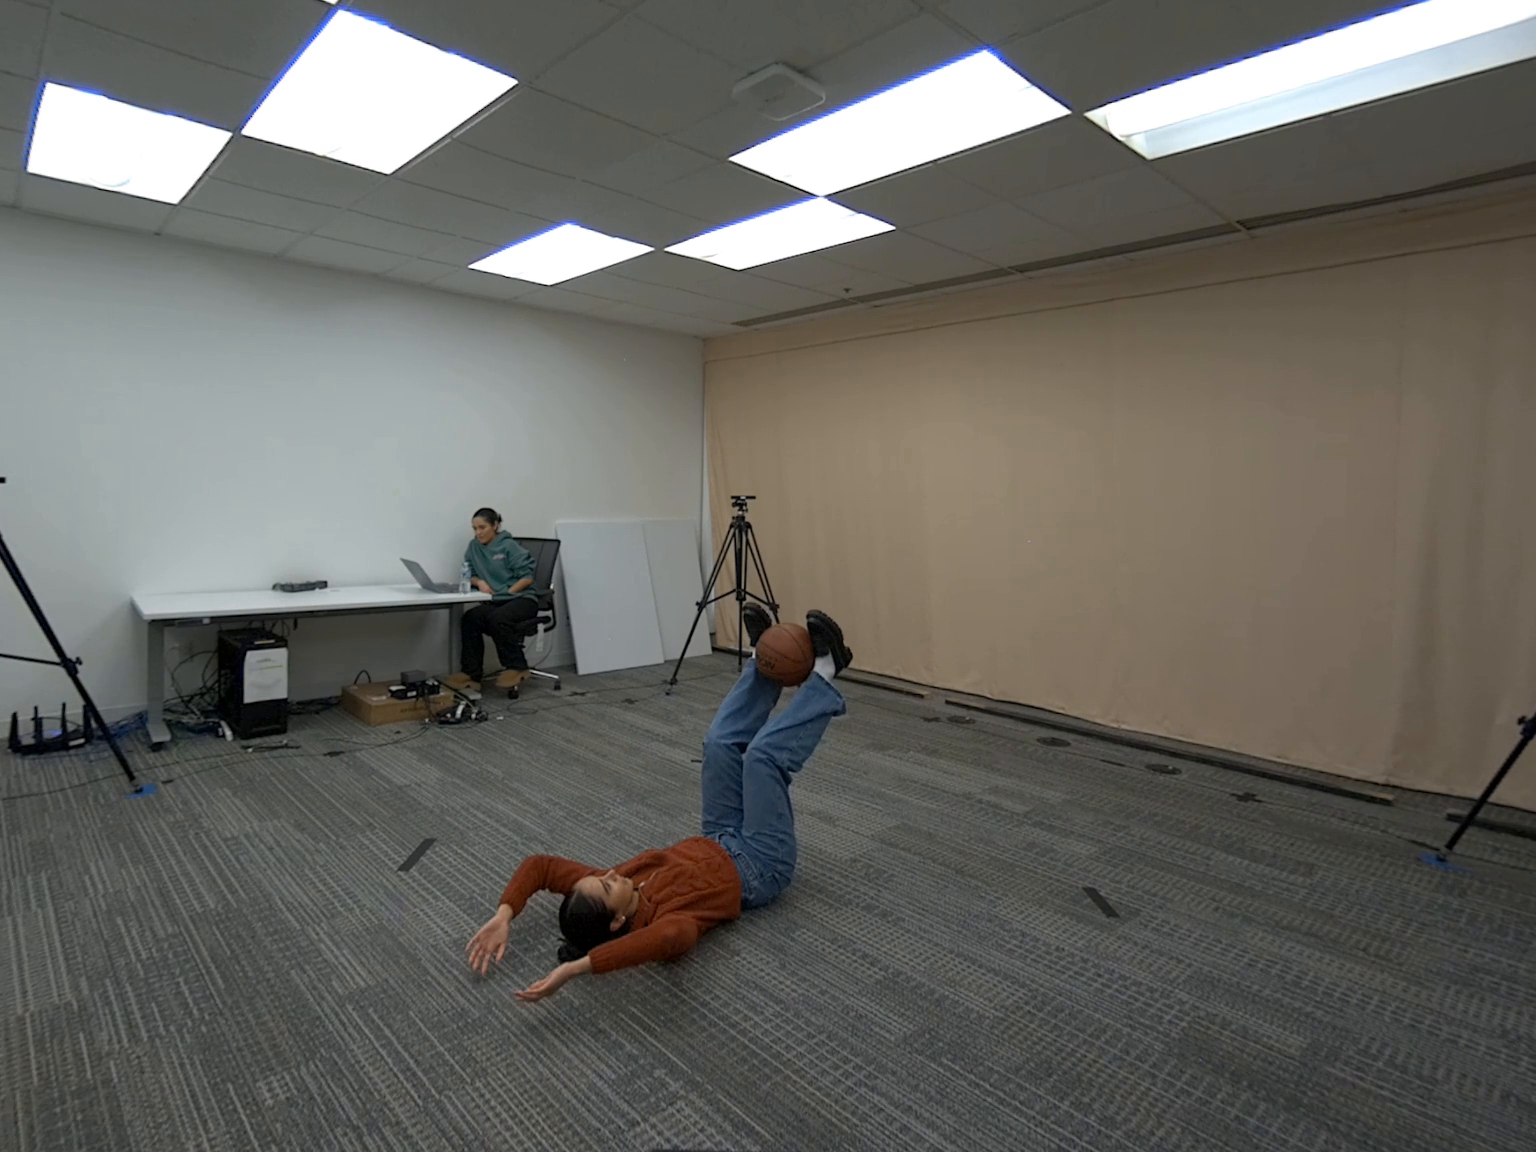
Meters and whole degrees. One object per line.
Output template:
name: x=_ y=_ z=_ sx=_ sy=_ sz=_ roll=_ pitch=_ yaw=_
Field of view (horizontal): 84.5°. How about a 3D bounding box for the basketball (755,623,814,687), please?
basketball: x=0.070 y=0.298 z=3.123 sx=0.236 sy=0.234 sz=0.237 roll=0 pitch=8 yaw=-1
